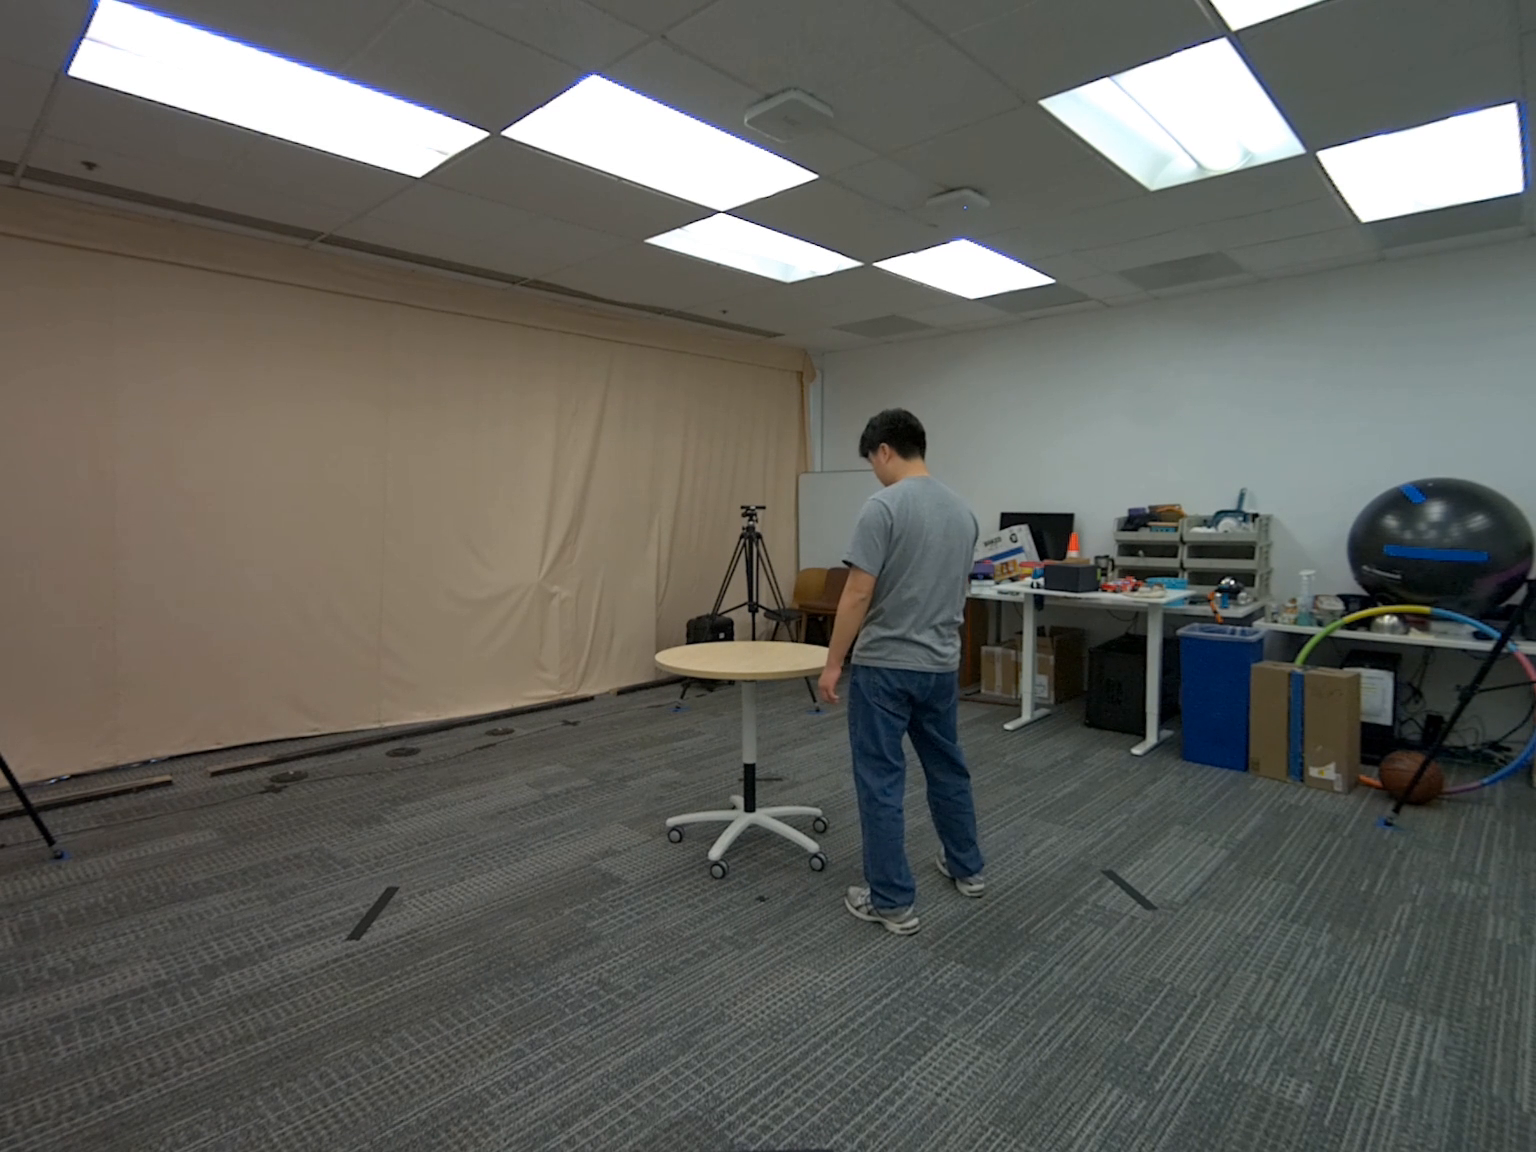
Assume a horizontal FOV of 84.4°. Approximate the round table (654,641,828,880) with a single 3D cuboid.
[{"bbox_3d":[-0.068,0.718,3.446,0.763,0.792,0.766,-1,3,-2],"label":"round table"}]
